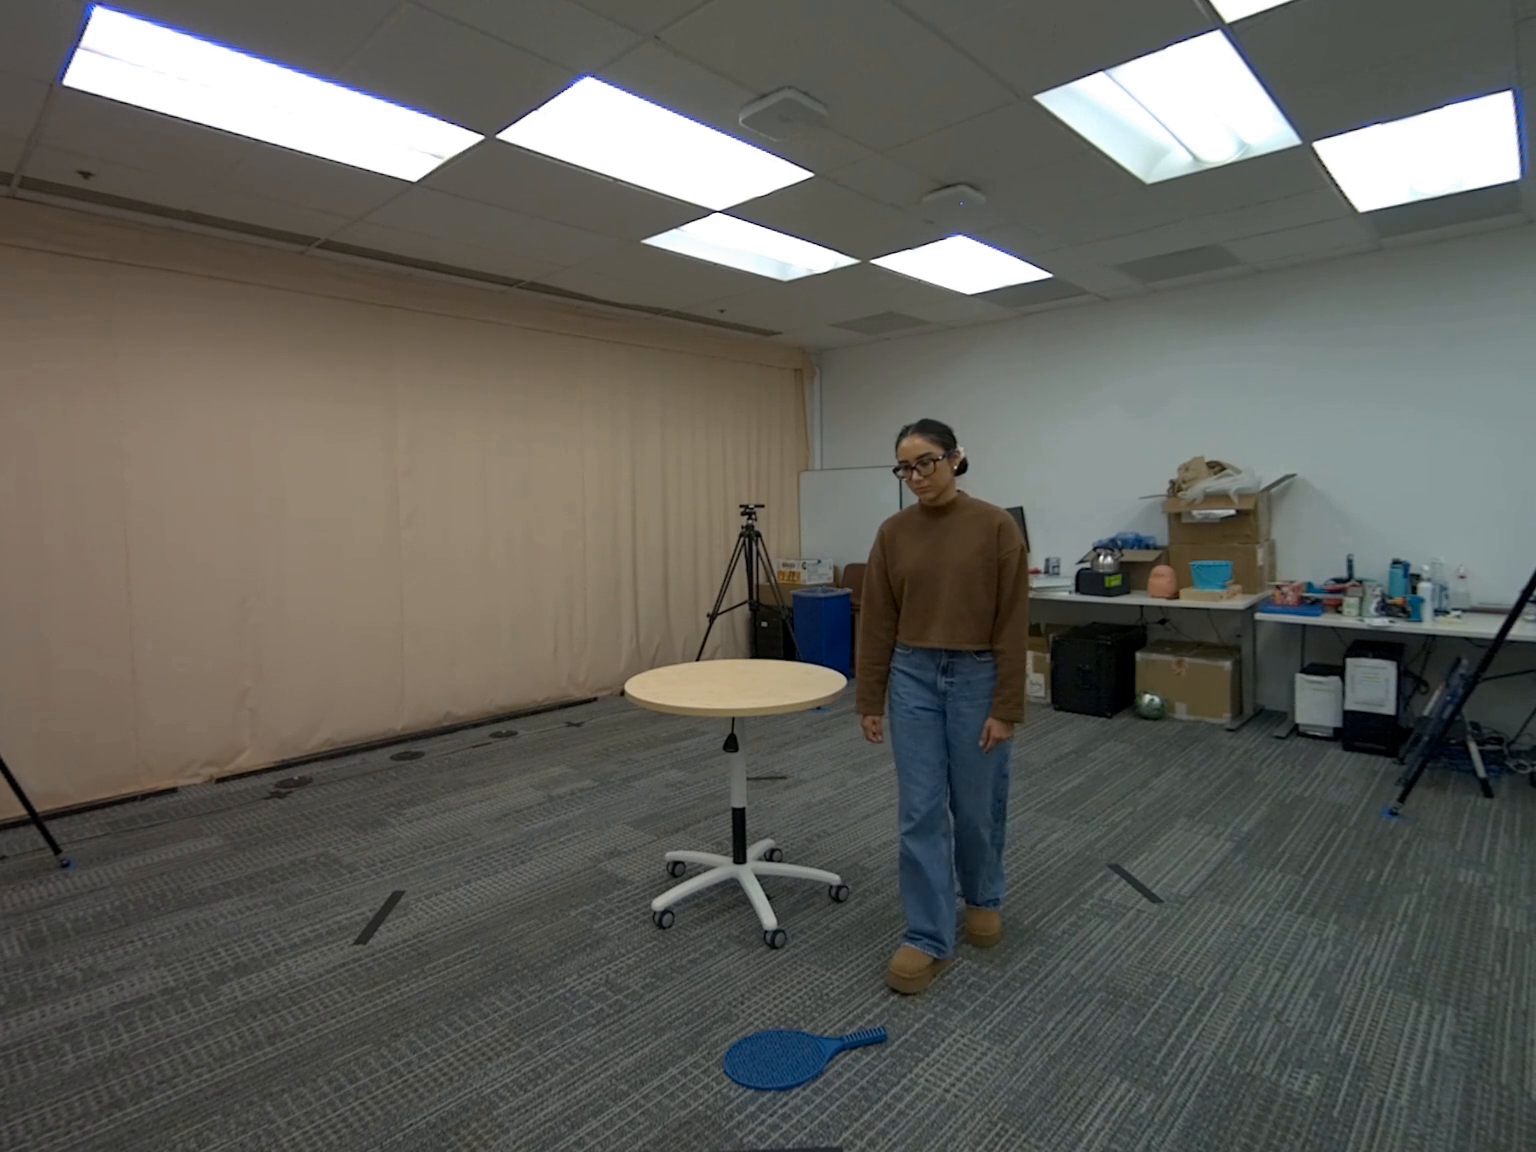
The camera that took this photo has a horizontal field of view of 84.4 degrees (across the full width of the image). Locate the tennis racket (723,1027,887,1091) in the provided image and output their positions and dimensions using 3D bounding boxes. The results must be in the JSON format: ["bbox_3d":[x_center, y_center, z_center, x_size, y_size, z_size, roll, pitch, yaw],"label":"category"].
[{"bbox_3d":[0.105,1.201,2.121,0.427,0.031,0.217,-3,6,-14],"label":"tennis racket"}]
